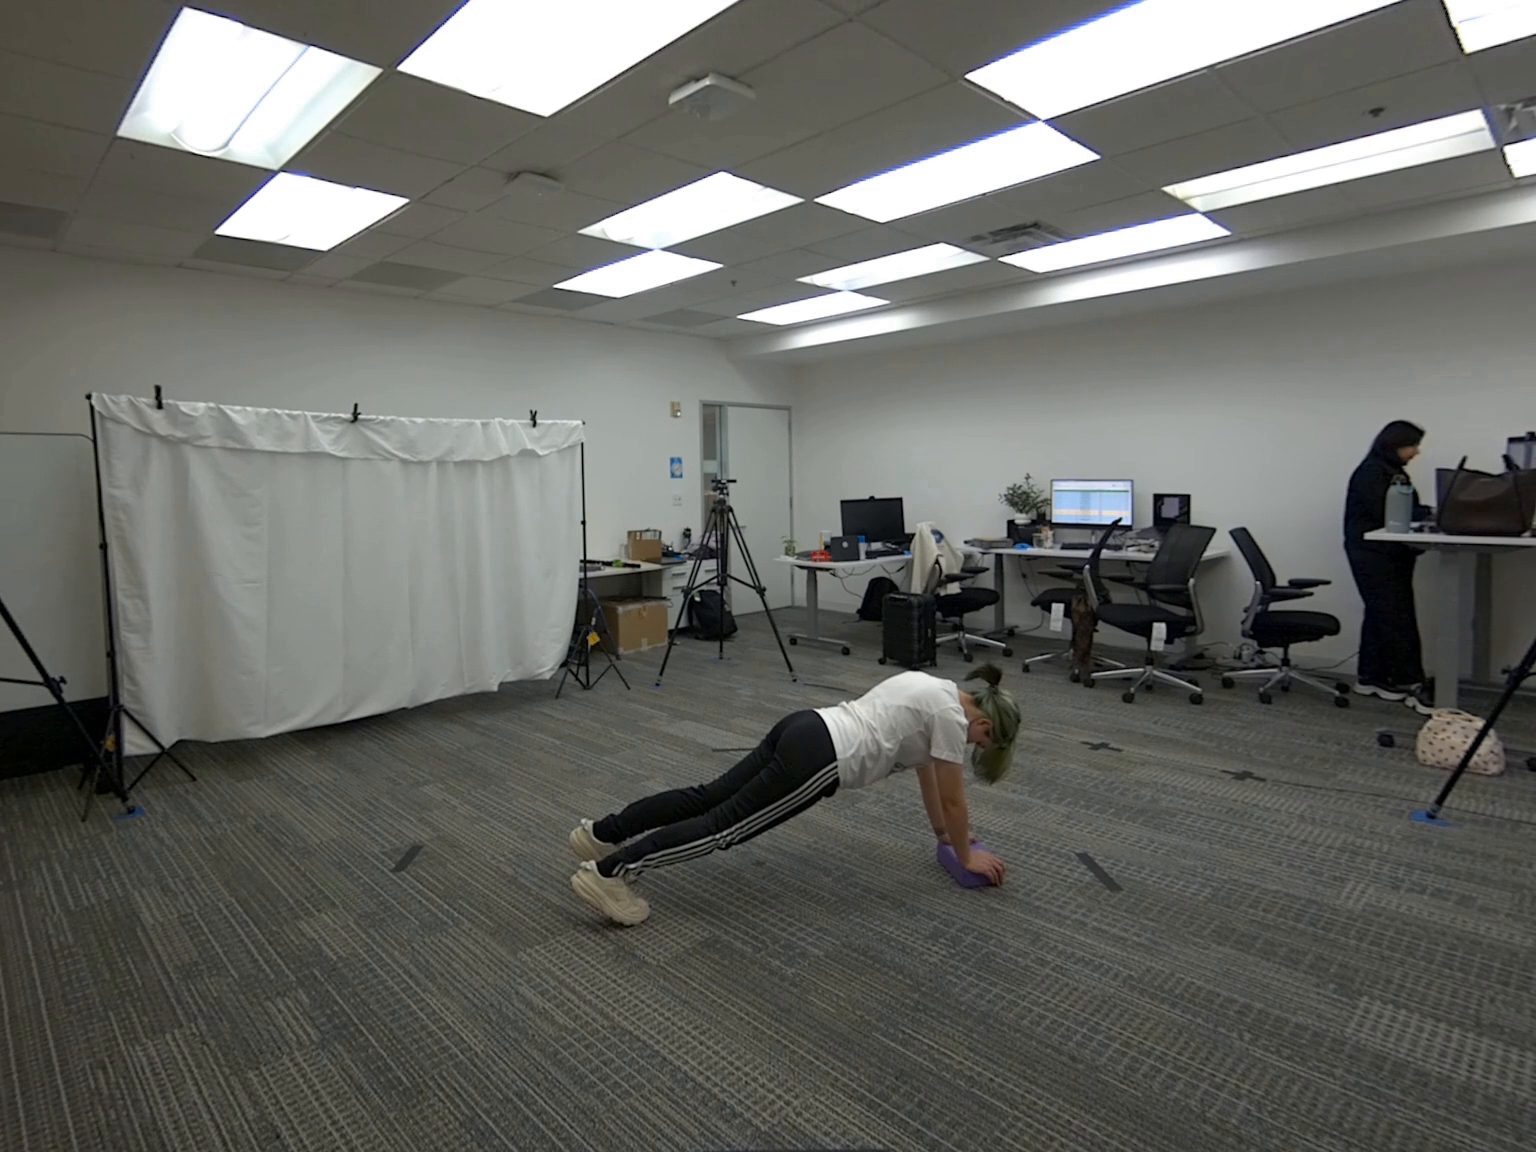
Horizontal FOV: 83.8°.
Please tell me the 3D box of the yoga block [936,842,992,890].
[{"bbox_3d":[0.703,1.004,3.006,0.148,0.076,0.232,-2,5,-9],"label":"yoga block"}]
